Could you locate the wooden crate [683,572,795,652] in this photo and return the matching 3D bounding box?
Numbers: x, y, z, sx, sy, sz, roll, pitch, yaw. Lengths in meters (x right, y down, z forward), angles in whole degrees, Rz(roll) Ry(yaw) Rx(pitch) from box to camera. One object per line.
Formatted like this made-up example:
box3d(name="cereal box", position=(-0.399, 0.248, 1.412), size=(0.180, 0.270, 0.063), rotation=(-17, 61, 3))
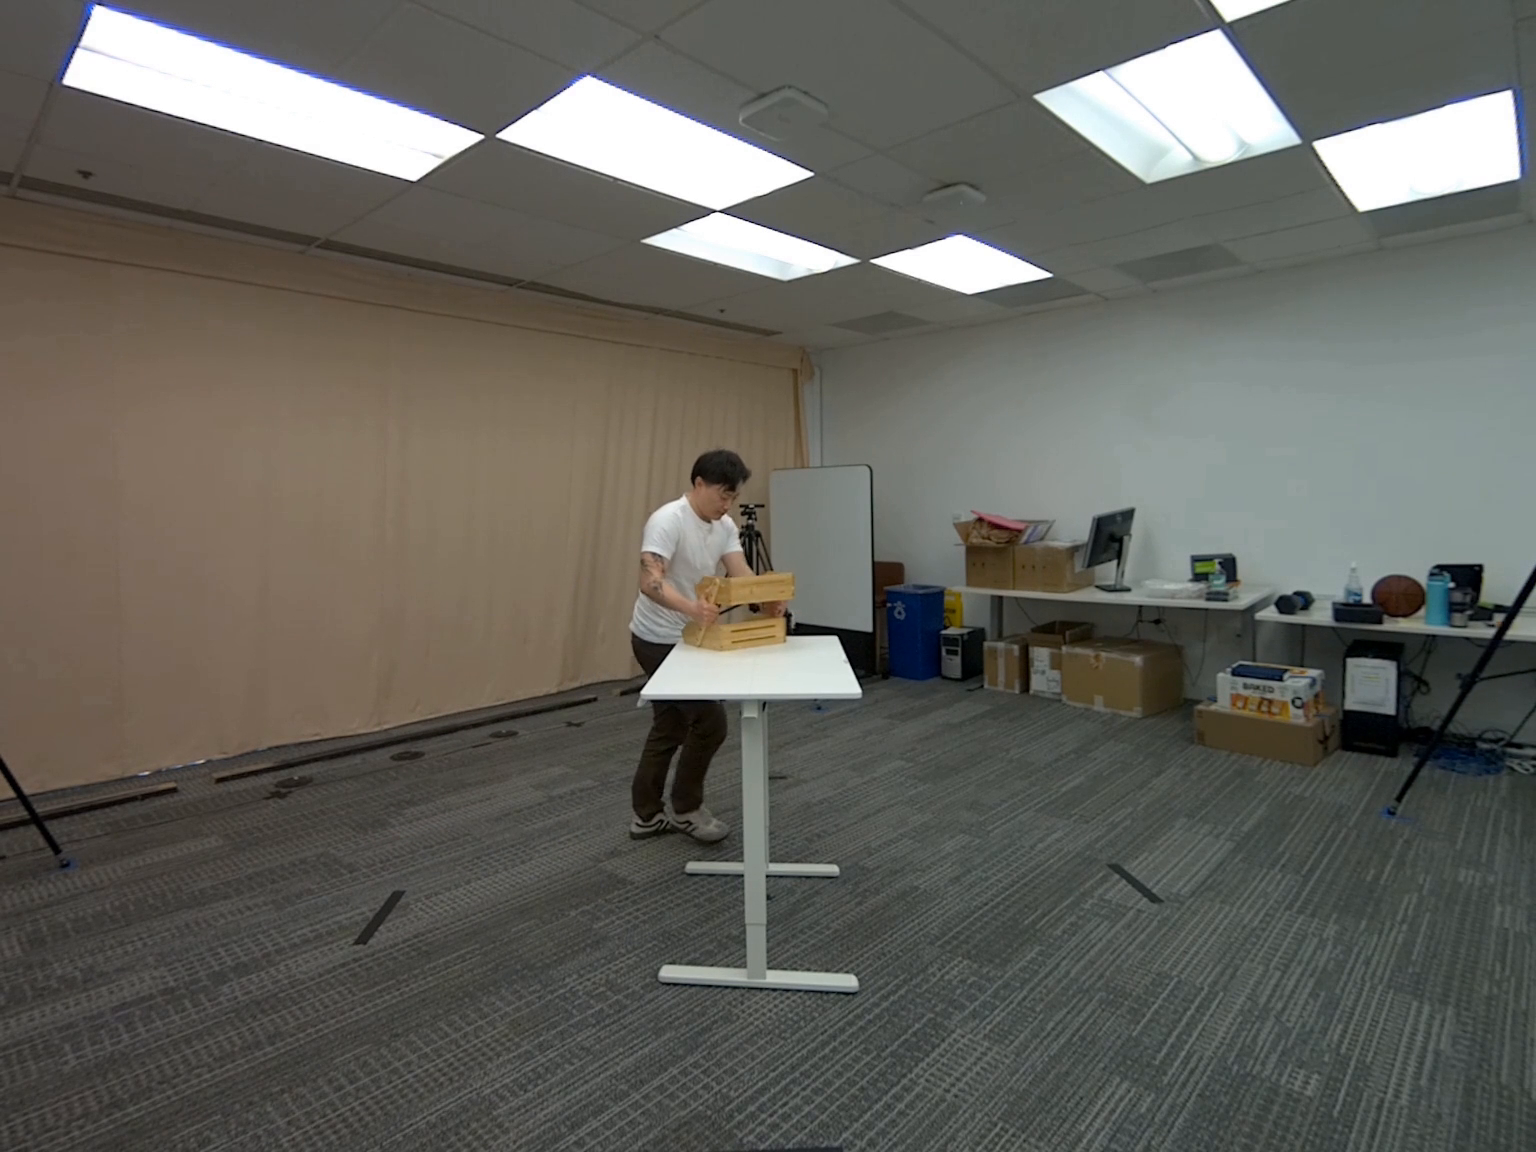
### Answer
box3d(name="wooden crate", position=(-0.105, 0.119, 3.095), size=(0.315, 0.272, 0.312), rotation=(-4, 5, -38))
